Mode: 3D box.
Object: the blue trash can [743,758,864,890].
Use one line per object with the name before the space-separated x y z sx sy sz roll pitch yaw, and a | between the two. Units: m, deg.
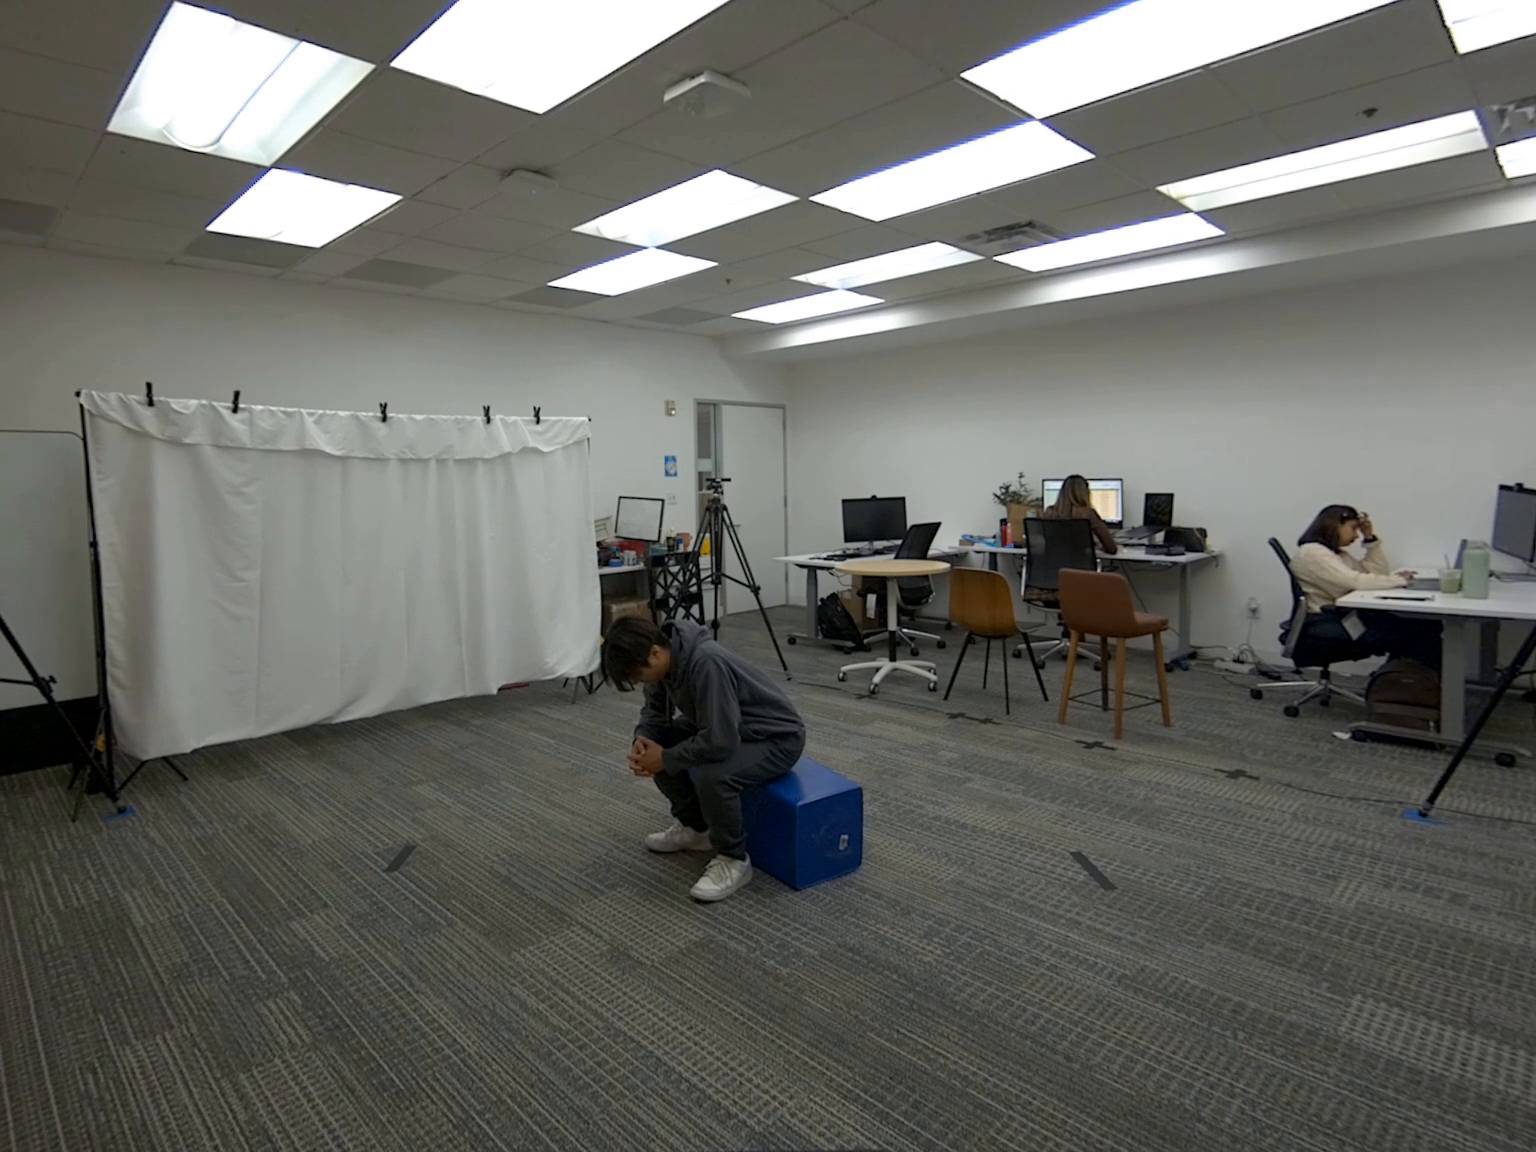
blue trash can | 0.014 0.857 3.248 0.365 0.375 0.736 -4 10 -35
